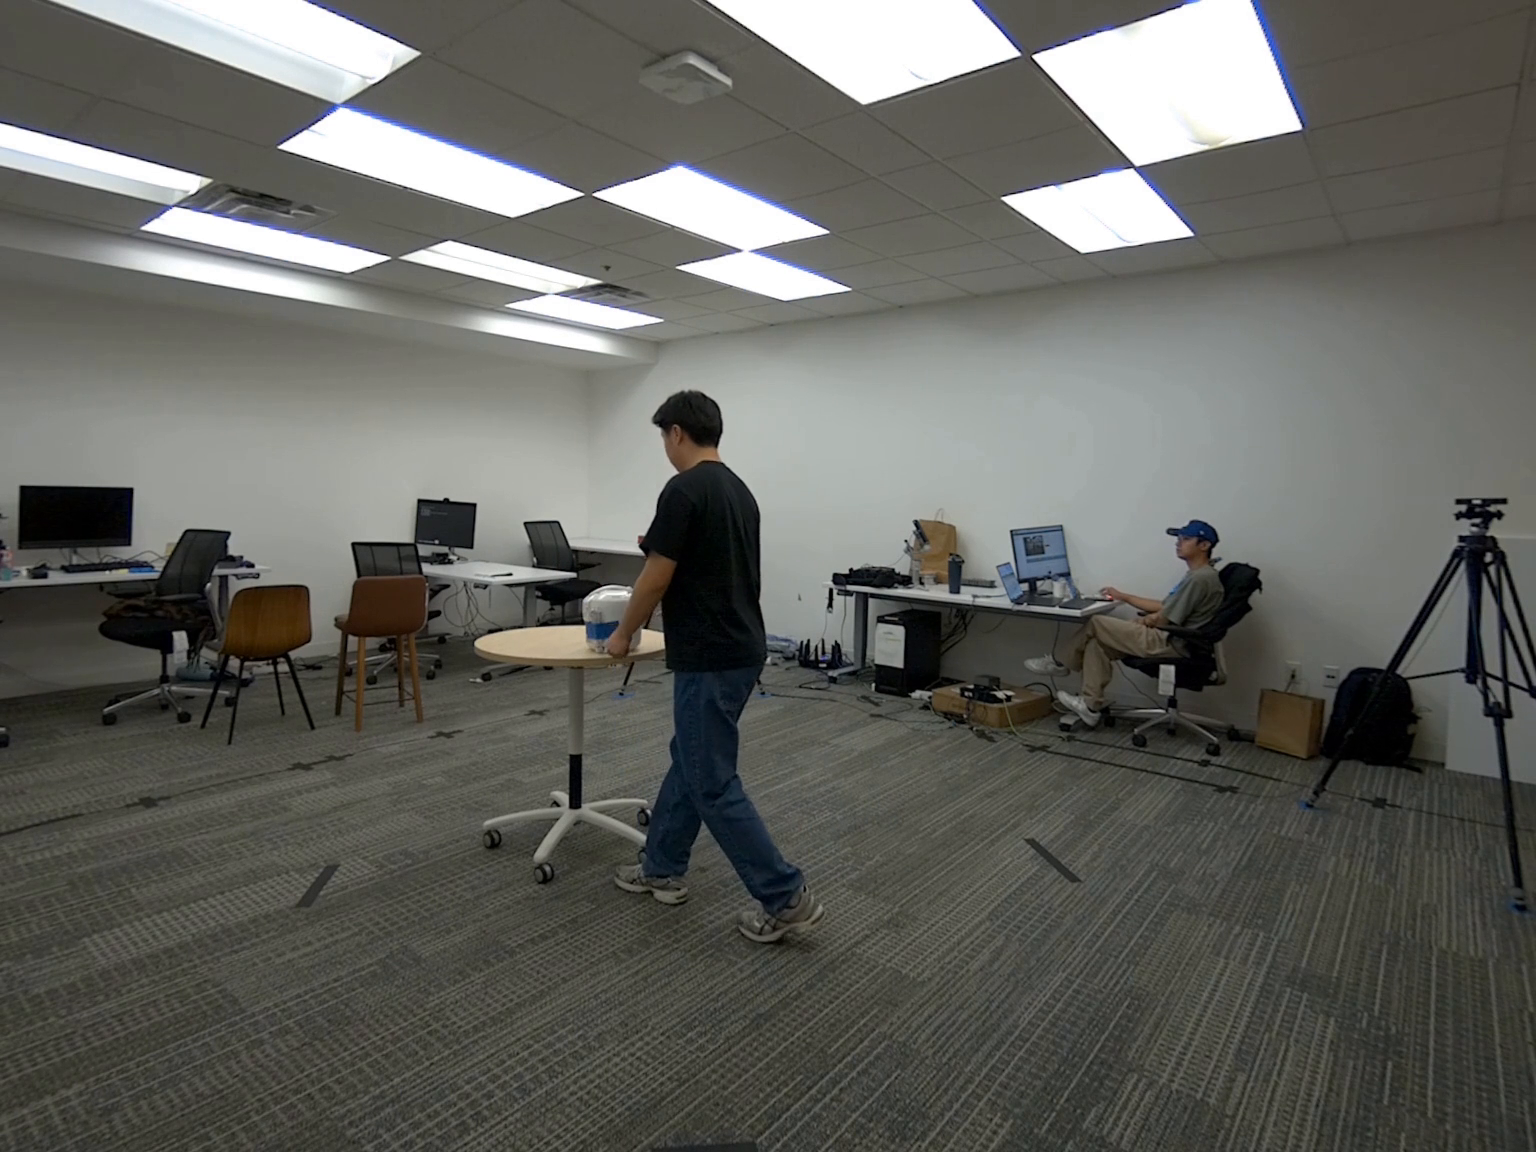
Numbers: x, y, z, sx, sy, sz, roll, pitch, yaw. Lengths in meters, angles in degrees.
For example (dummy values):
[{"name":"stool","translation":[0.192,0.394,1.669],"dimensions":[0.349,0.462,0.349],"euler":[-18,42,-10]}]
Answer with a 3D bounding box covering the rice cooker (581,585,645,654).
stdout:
[{"name":"rice cooker","translation":[-0.582,0.150,3.116],"dimensions":[0.215,0.232,0.223],"euler":[0,5,-25]}]
